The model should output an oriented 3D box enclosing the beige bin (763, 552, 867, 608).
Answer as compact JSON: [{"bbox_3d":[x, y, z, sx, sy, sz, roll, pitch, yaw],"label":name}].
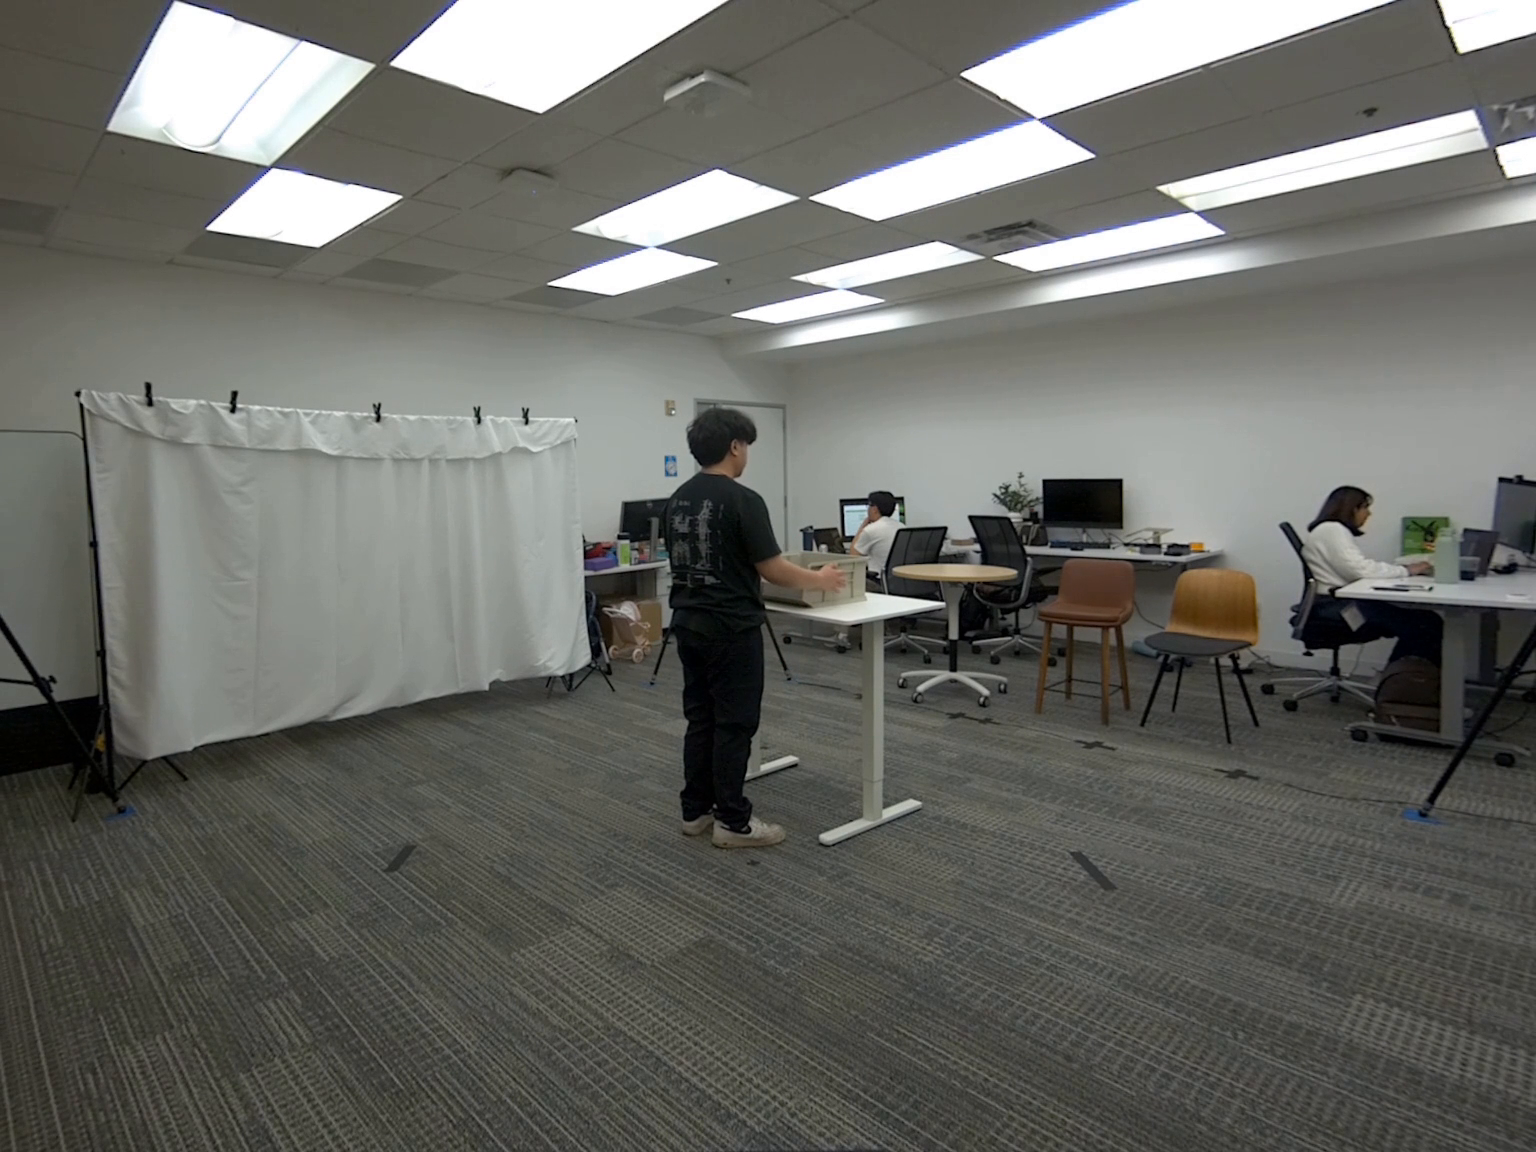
[{"bbox_3d":[0.153,0.014,3.607,0.367,0.188,0.435,-5,7,-38],"label":"beige bin"}]
